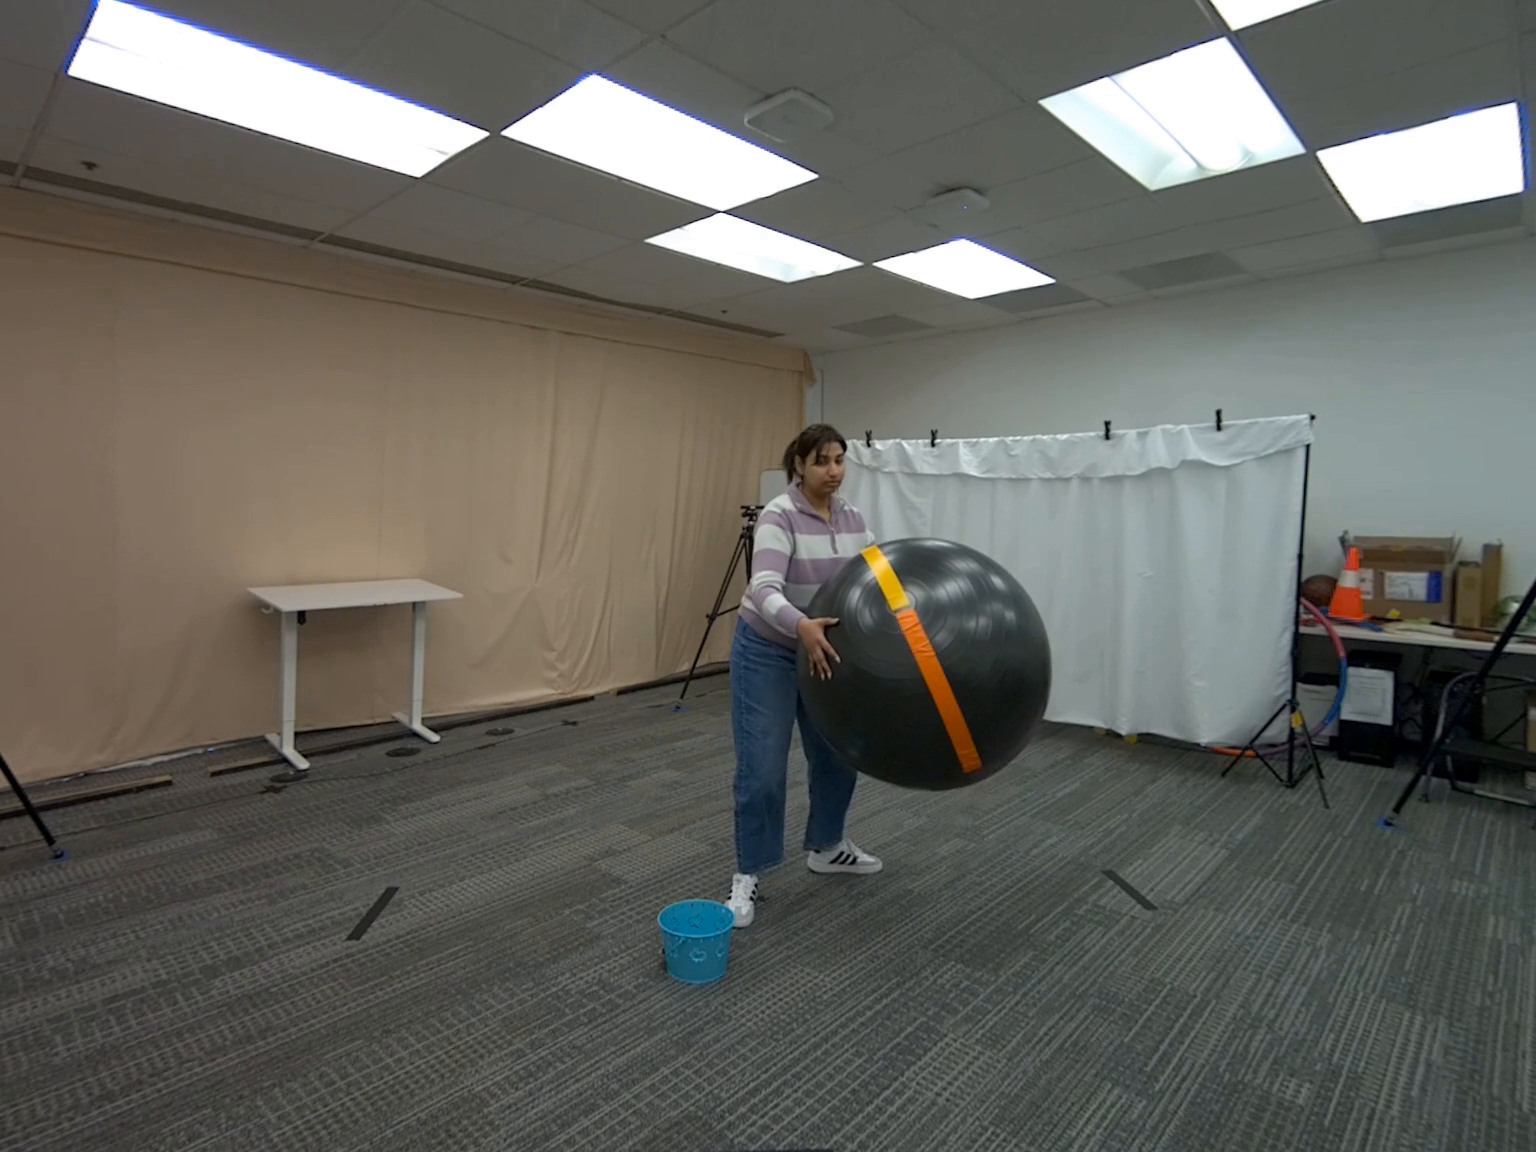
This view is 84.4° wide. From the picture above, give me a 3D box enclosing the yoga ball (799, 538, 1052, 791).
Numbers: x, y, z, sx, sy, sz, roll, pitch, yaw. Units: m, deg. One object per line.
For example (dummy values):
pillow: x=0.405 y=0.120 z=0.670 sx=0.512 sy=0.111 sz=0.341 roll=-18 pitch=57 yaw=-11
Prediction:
yoga ball: x=0.475 y=0.276 z=2.568 sx=0.757 sy=0.756 sz=0.761 roll=0 pitch=4 yaw=-2
